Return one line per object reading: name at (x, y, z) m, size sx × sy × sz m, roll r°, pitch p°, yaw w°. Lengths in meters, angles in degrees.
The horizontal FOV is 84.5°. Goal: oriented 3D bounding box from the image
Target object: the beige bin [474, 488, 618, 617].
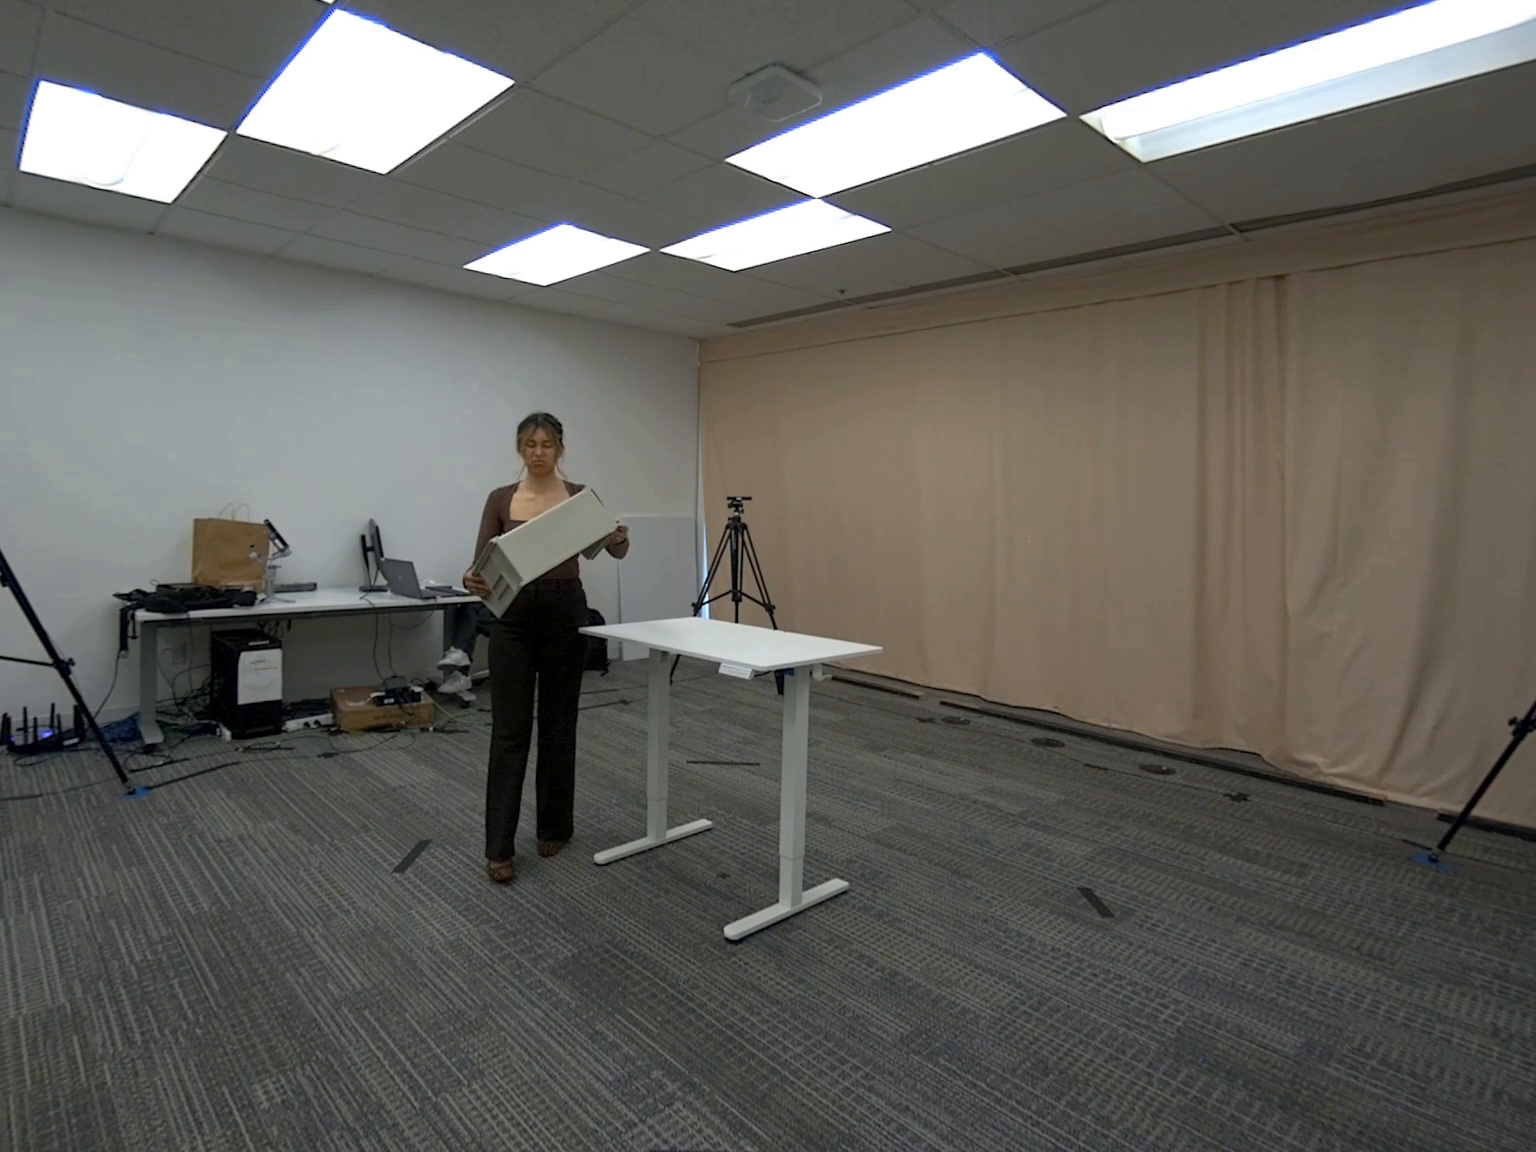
beige bin at (-0.769, -0.082, 2.860) m, size 0.419 × 0.189 × 0.379 m, roll -36°, pitch 0°, yaw -36°
